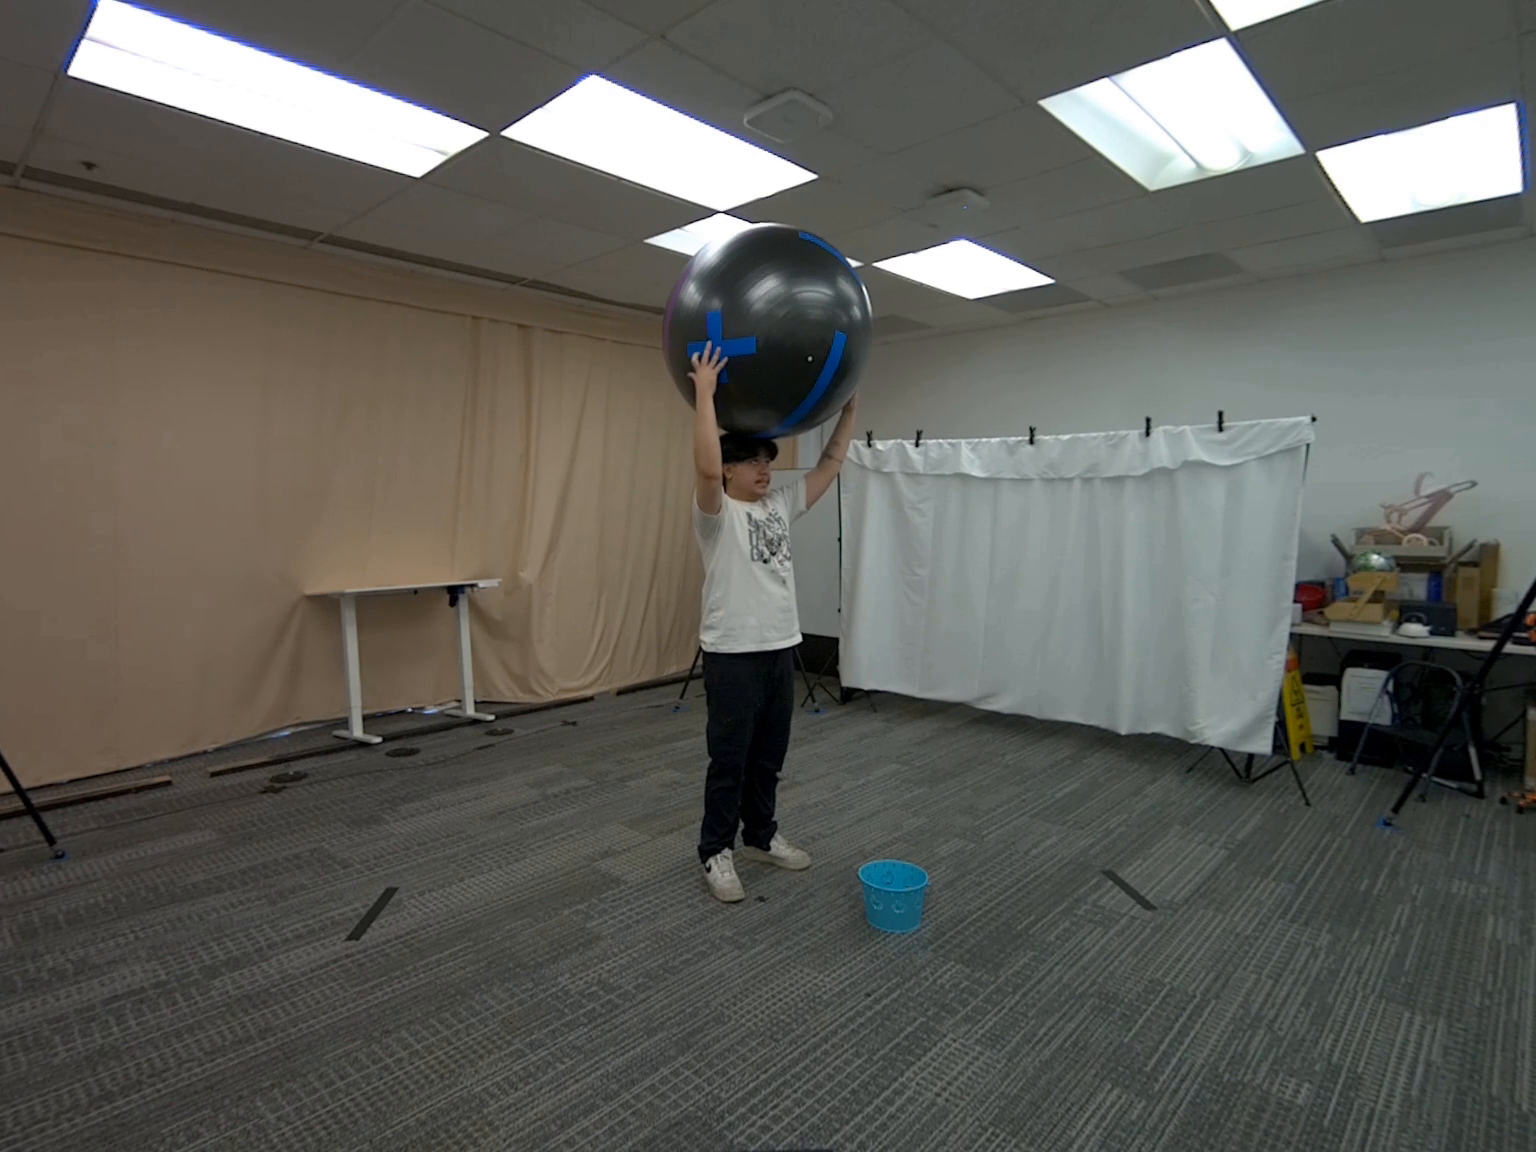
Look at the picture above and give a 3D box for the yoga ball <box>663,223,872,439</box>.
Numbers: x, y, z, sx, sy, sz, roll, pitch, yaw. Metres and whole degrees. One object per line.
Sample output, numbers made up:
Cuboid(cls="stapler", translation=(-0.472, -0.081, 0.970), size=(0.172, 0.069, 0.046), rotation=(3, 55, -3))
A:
Cuboid(cls="yoga ball", translation=(-0.007, -0.875, 3.060), size=(0.757, 0.756, 0.760), rotation=(0, 4, -2))
